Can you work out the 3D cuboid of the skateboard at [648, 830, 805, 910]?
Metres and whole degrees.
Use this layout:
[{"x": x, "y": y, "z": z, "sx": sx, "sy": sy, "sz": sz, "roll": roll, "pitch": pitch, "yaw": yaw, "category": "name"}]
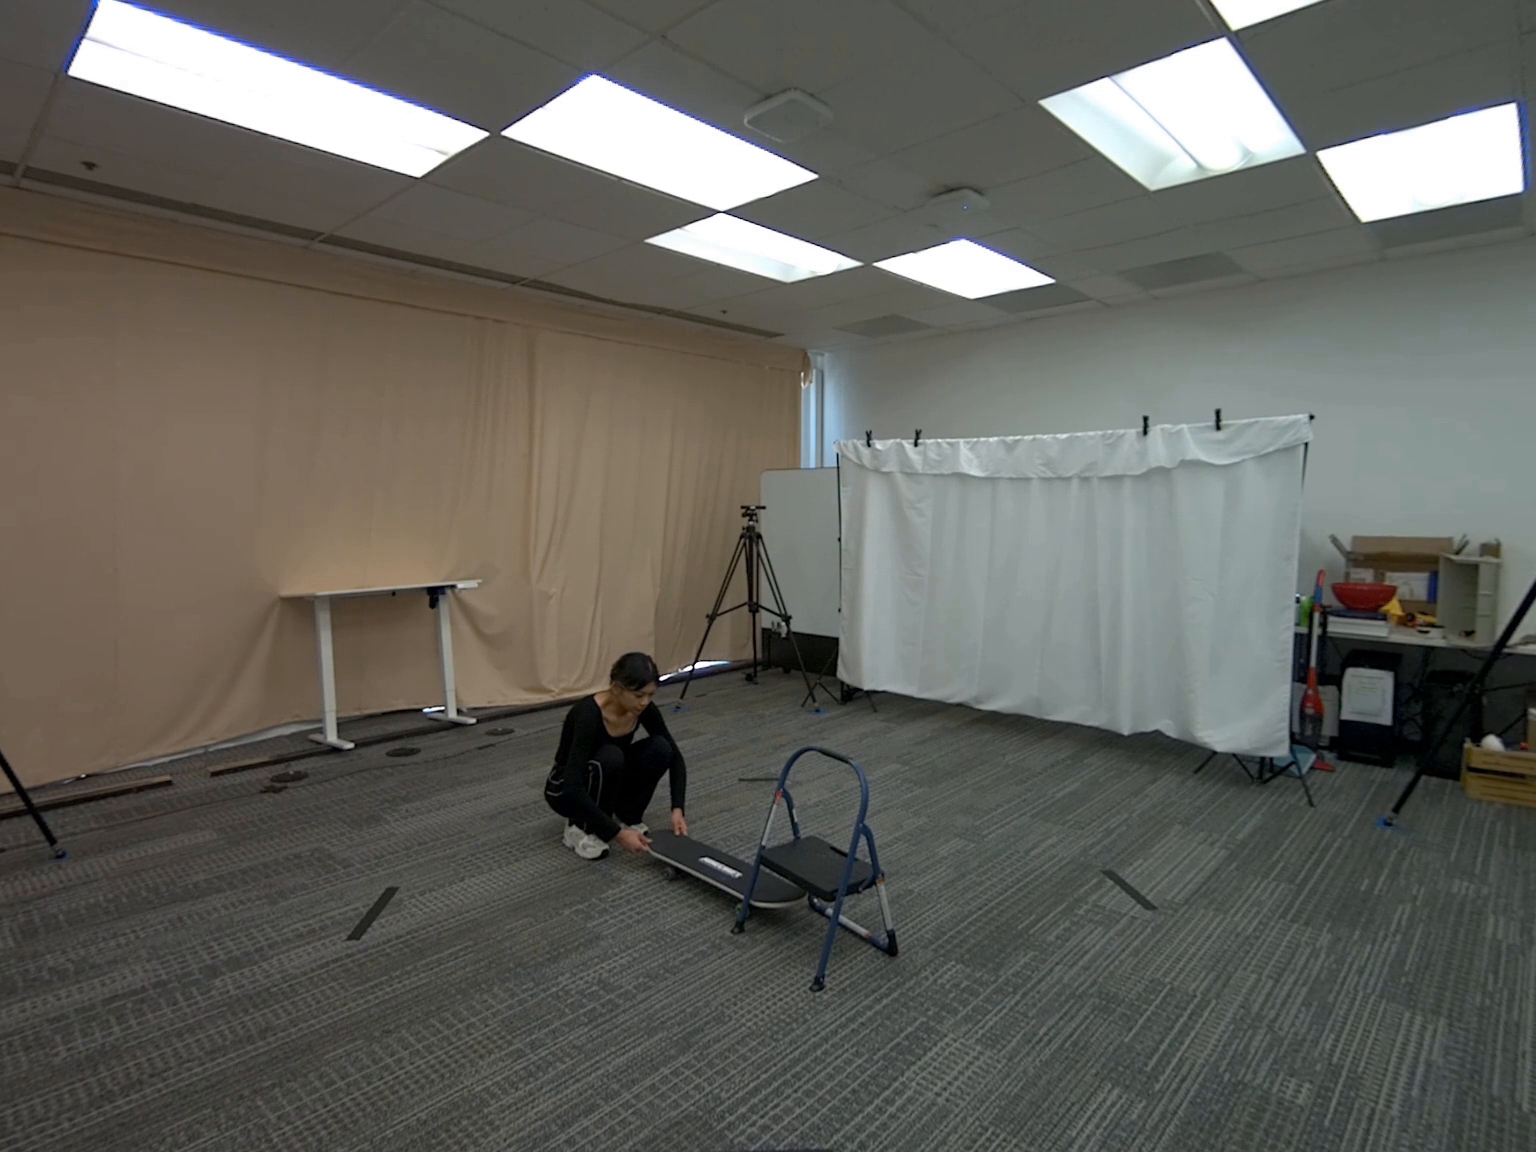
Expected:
[{"x": -0.163, "y": 1.079, "z": 3.039, "sx": 0.187, "sy": 0.110, "sz": 0.811, "roll": -4, "pitch": 5, "yaw": -43, "category": "skateboard"}]
